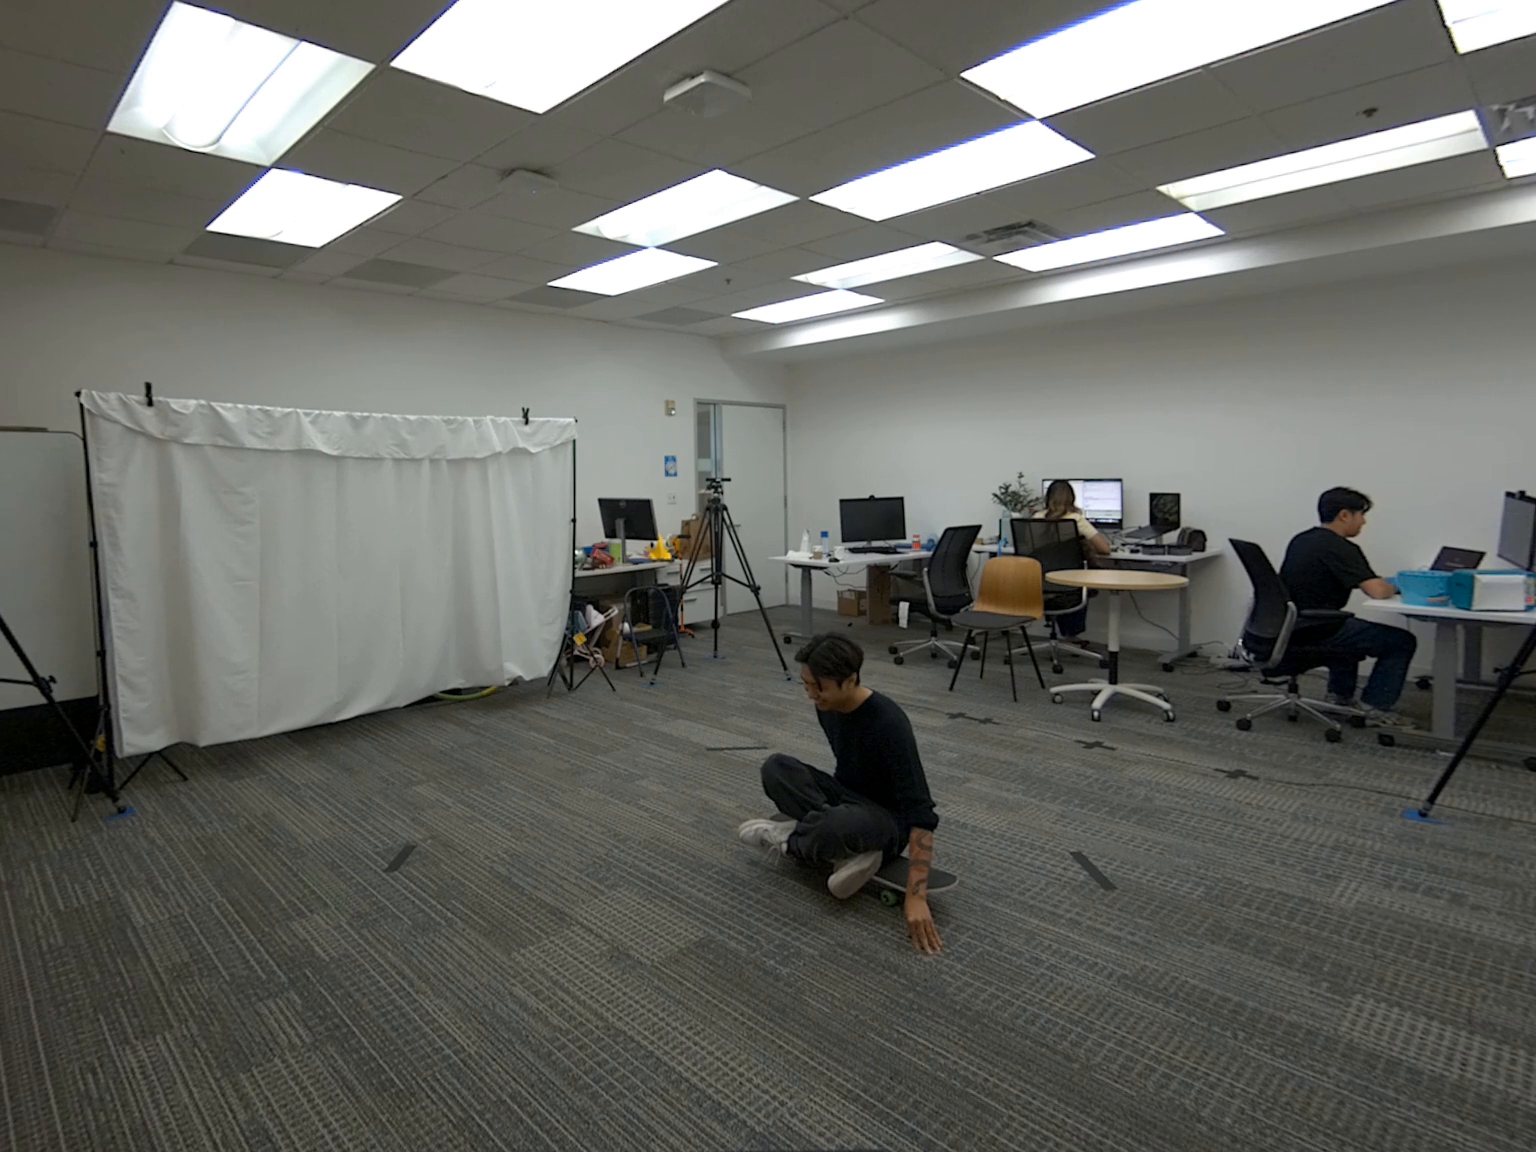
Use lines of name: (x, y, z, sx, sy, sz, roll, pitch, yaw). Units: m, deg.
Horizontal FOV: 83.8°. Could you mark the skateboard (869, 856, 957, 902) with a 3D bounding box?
skateboard: (0.309, 1.004, 2.977, 0.188, 0.110, 0.810, -7, 9, -44)
